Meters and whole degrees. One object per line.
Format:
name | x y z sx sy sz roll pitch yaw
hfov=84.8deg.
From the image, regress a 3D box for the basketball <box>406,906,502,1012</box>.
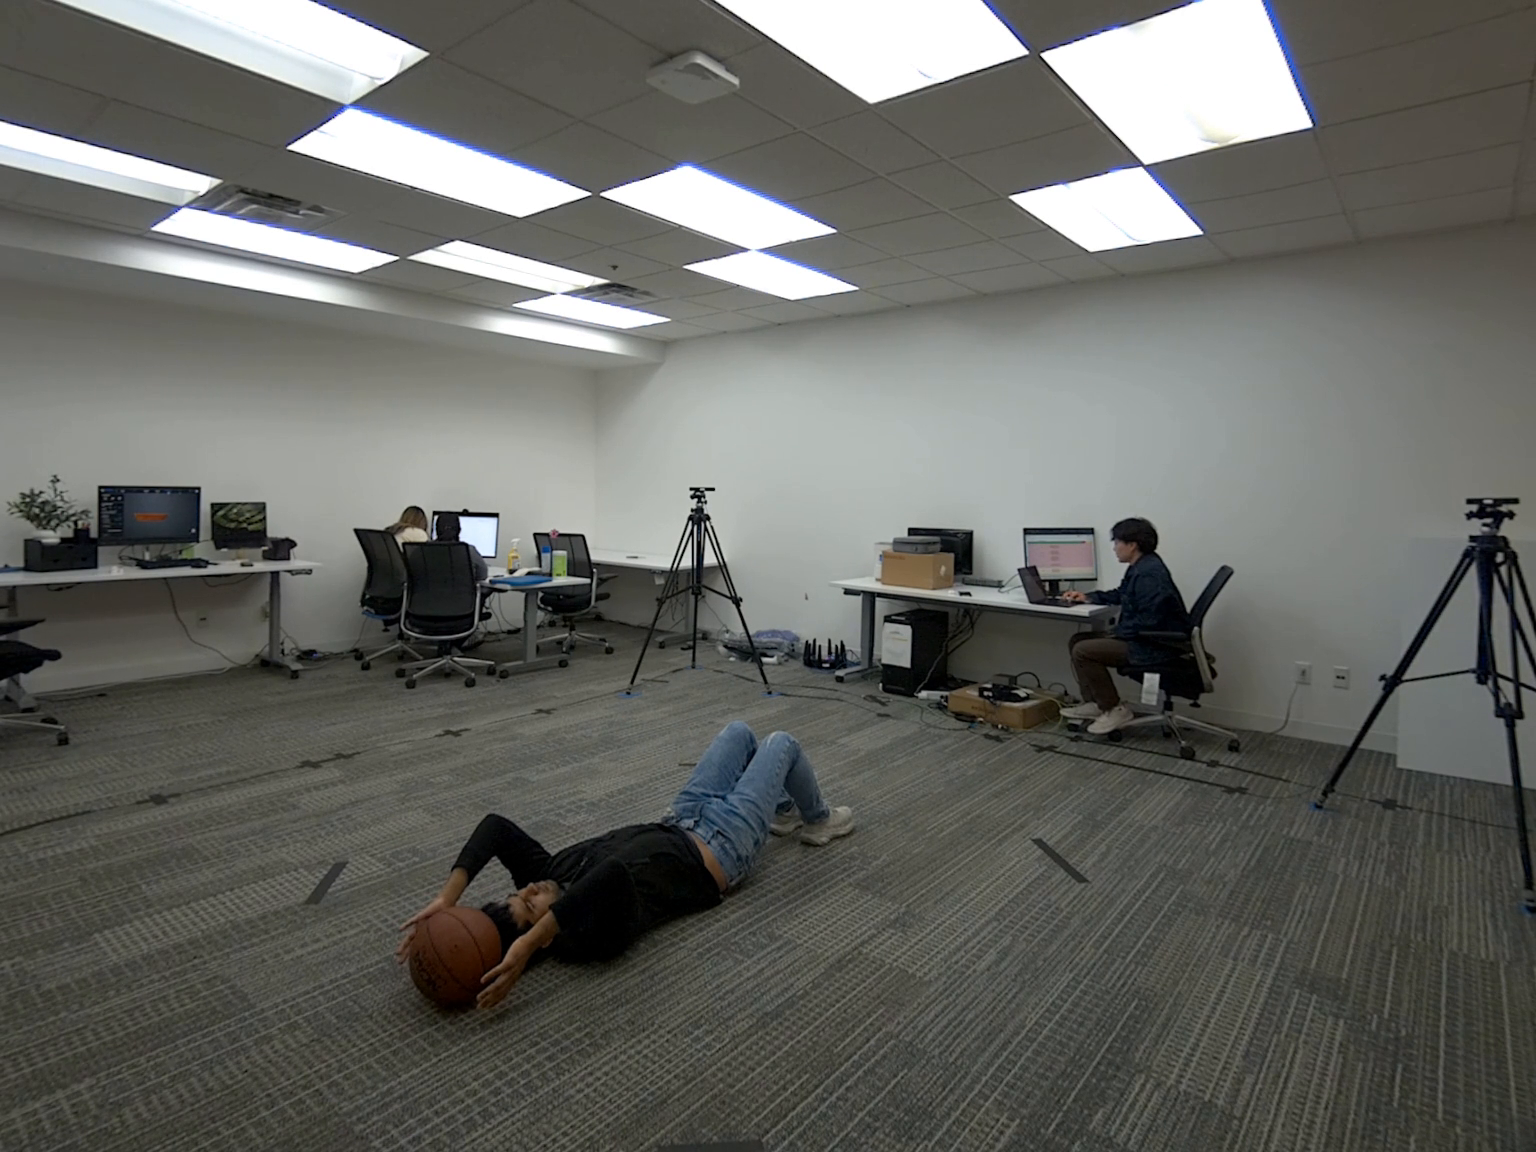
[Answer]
basketball | -0.847 1.019 2.294 0.235 0.235 0.237 1 4 -2
